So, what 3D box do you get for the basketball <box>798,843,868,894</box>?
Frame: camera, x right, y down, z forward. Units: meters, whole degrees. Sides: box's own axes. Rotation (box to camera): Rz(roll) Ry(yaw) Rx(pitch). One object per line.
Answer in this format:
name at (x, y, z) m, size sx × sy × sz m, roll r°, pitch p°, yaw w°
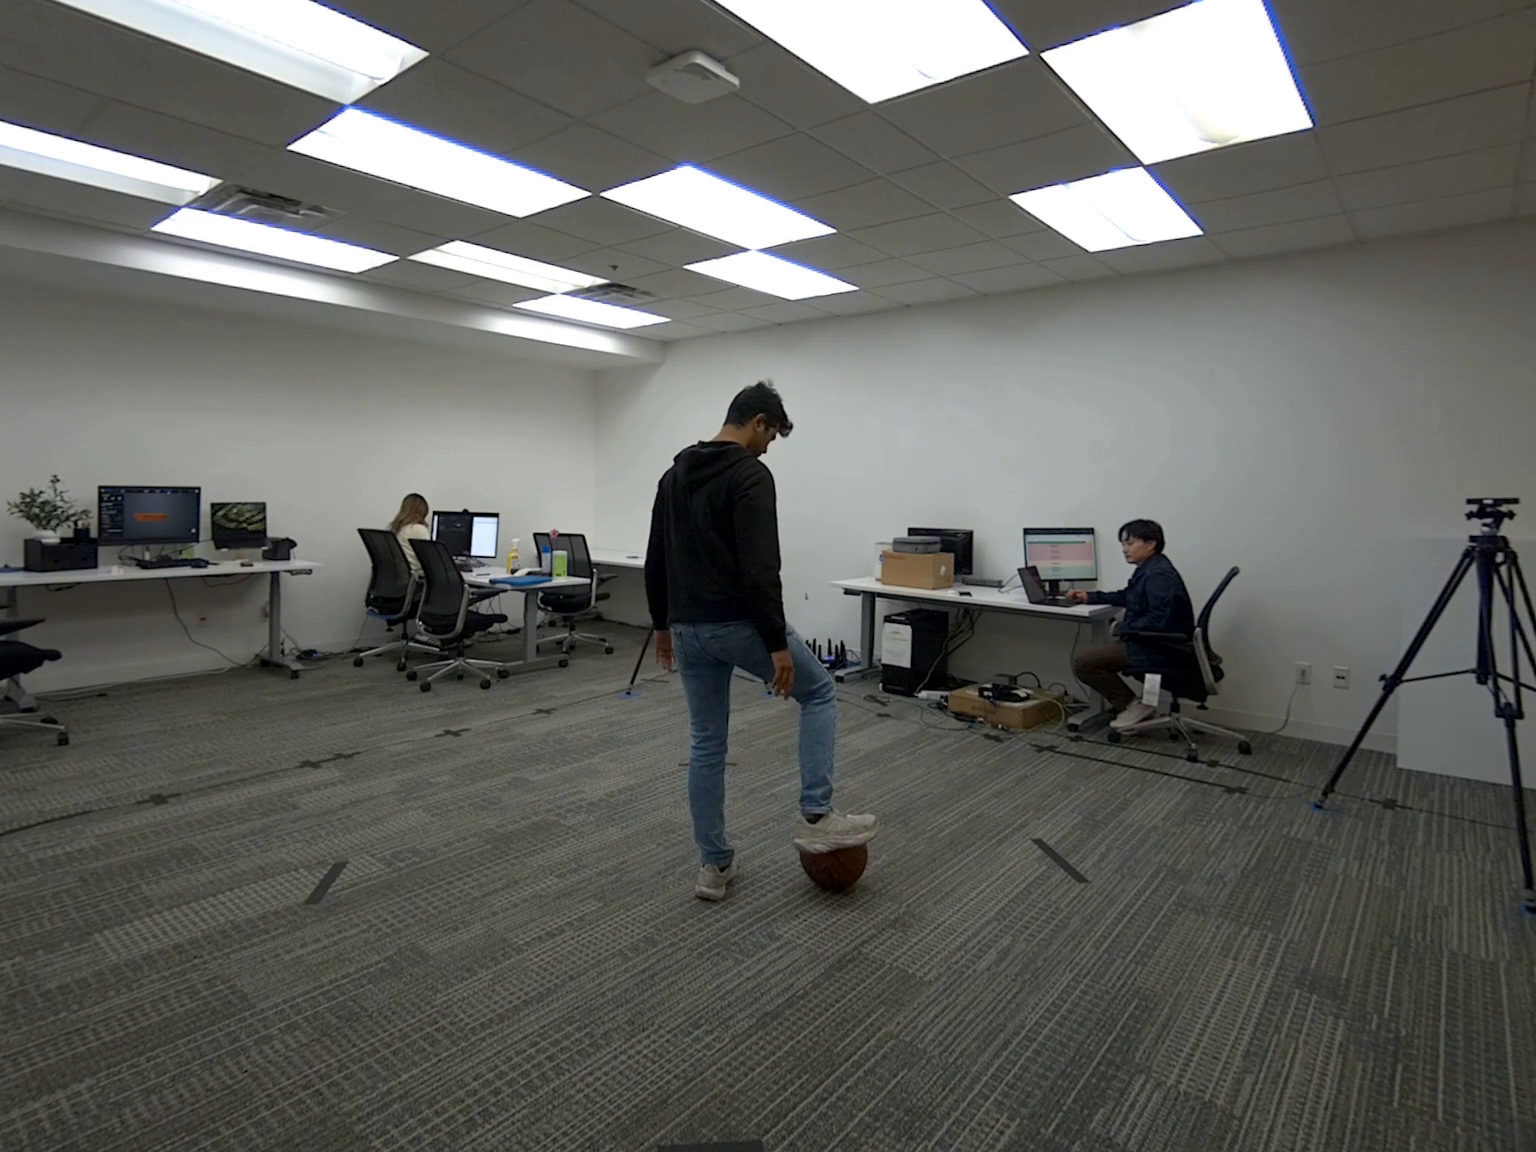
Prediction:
basketball at (0.226, 0.967, 2.992) m, size 0.235 × 0.235 × 0.237 m, roll 1°, pitch 4°, yaw -2°
